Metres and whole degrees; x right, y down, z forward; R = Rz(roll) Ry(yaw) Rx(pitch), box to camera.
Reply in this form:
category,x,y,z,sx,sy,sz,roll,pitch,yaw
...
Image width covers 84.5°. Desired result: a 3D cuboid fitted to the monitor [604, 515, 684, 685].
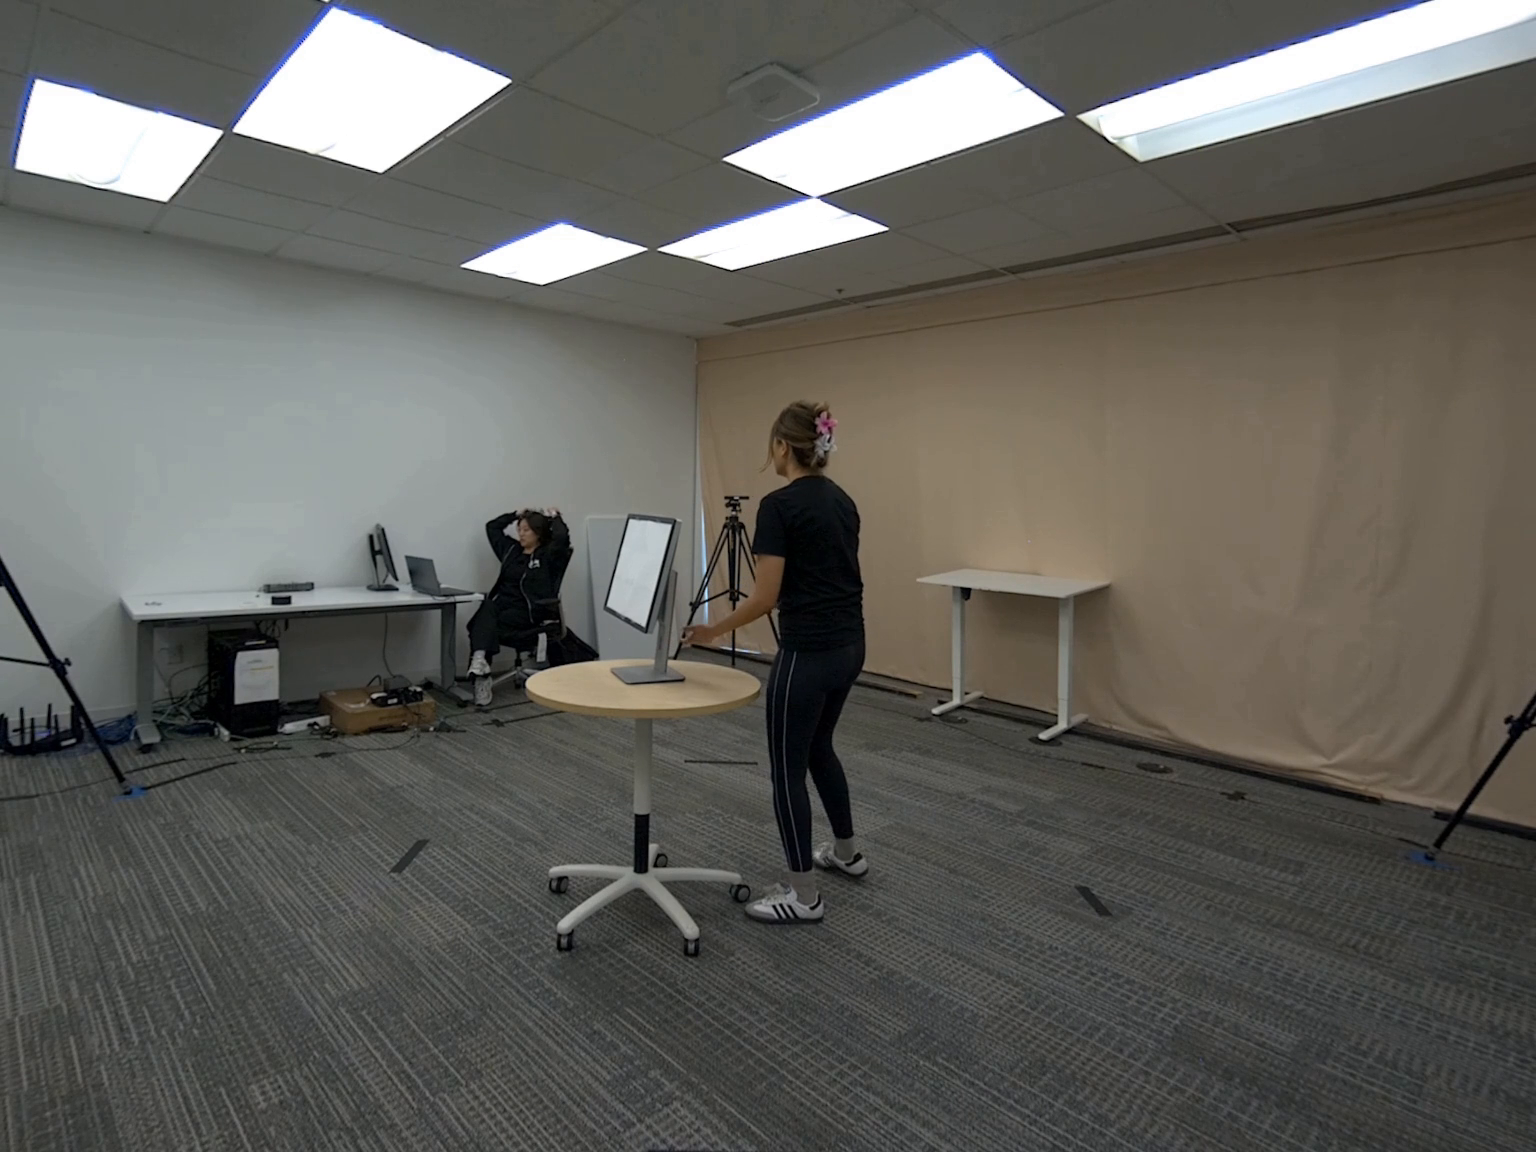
category,x,y,z,sx,sy,sz,roll,pitch,yaw
monitor,-0.405,0.078,2.847,0.183,0.521,0.551,1,4,-28
